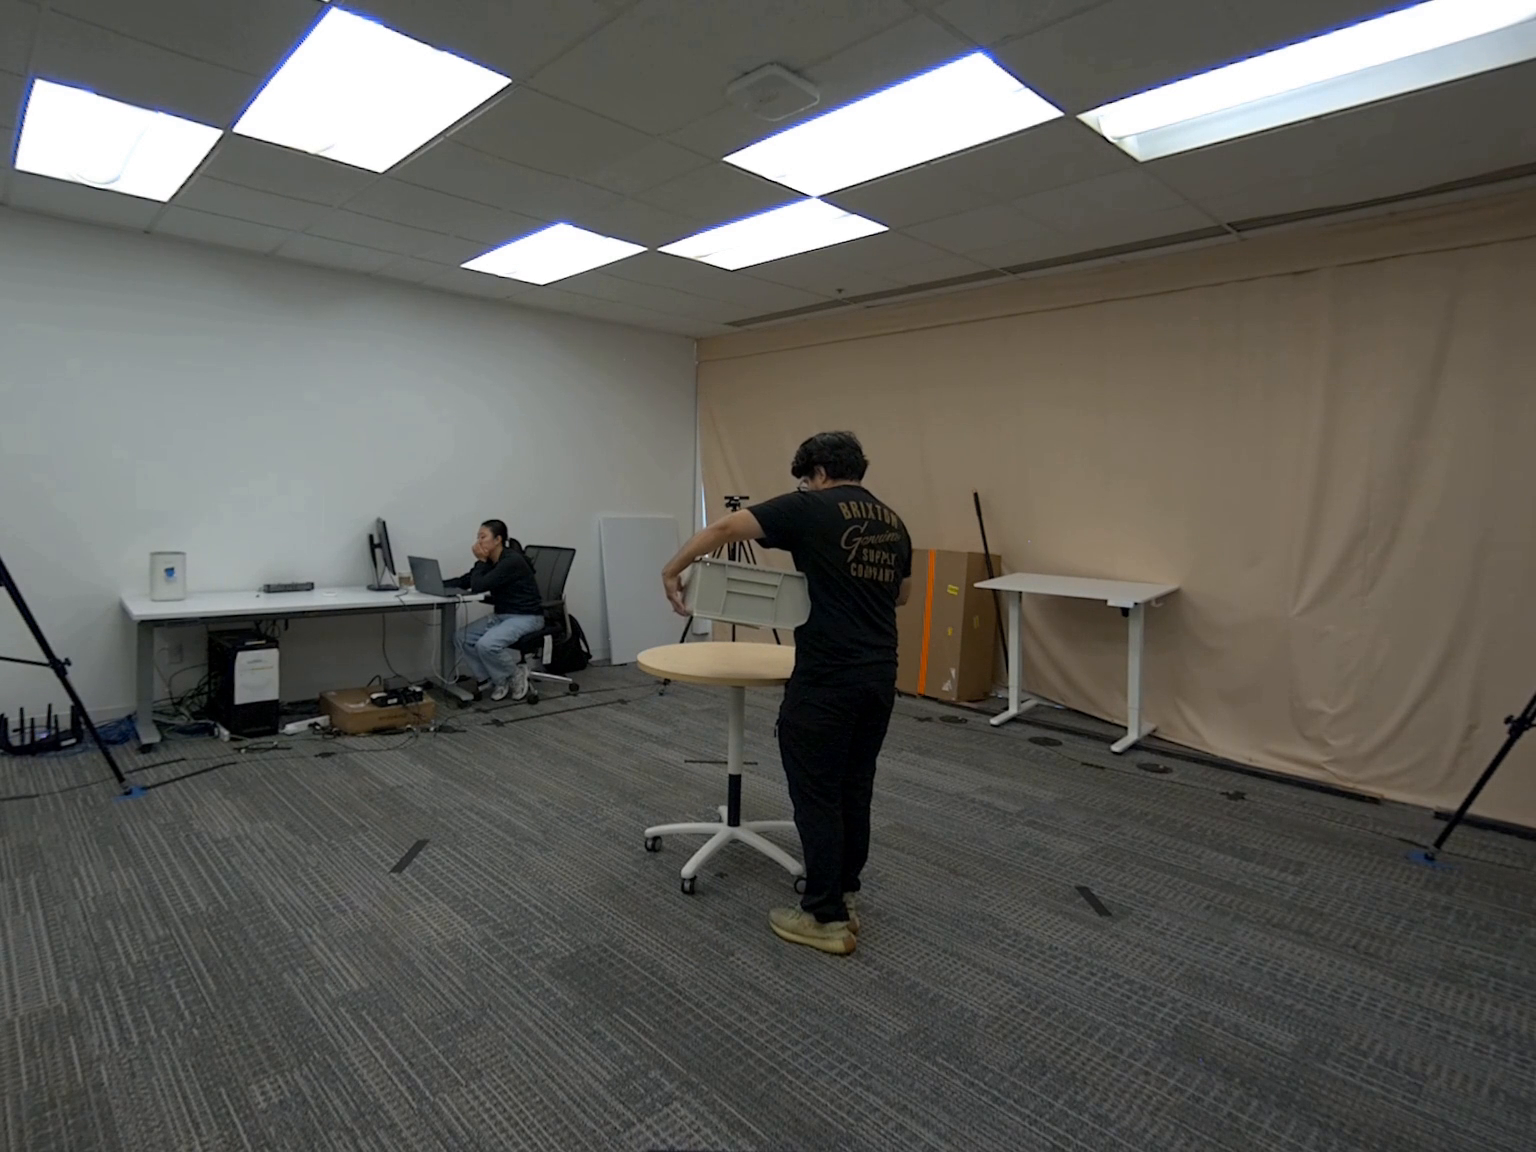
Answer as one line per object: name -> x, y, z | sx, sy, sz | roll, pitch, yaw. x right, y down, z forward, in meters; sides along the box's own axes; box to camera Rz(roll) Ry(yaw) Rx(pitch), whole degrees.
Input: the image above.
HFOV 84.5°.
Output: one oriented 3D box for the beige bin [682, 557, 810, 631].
beige bin -> -0.091, 0.069, 2.728 | 0.372, 0.189, 0.427 | 10, -4, -15
